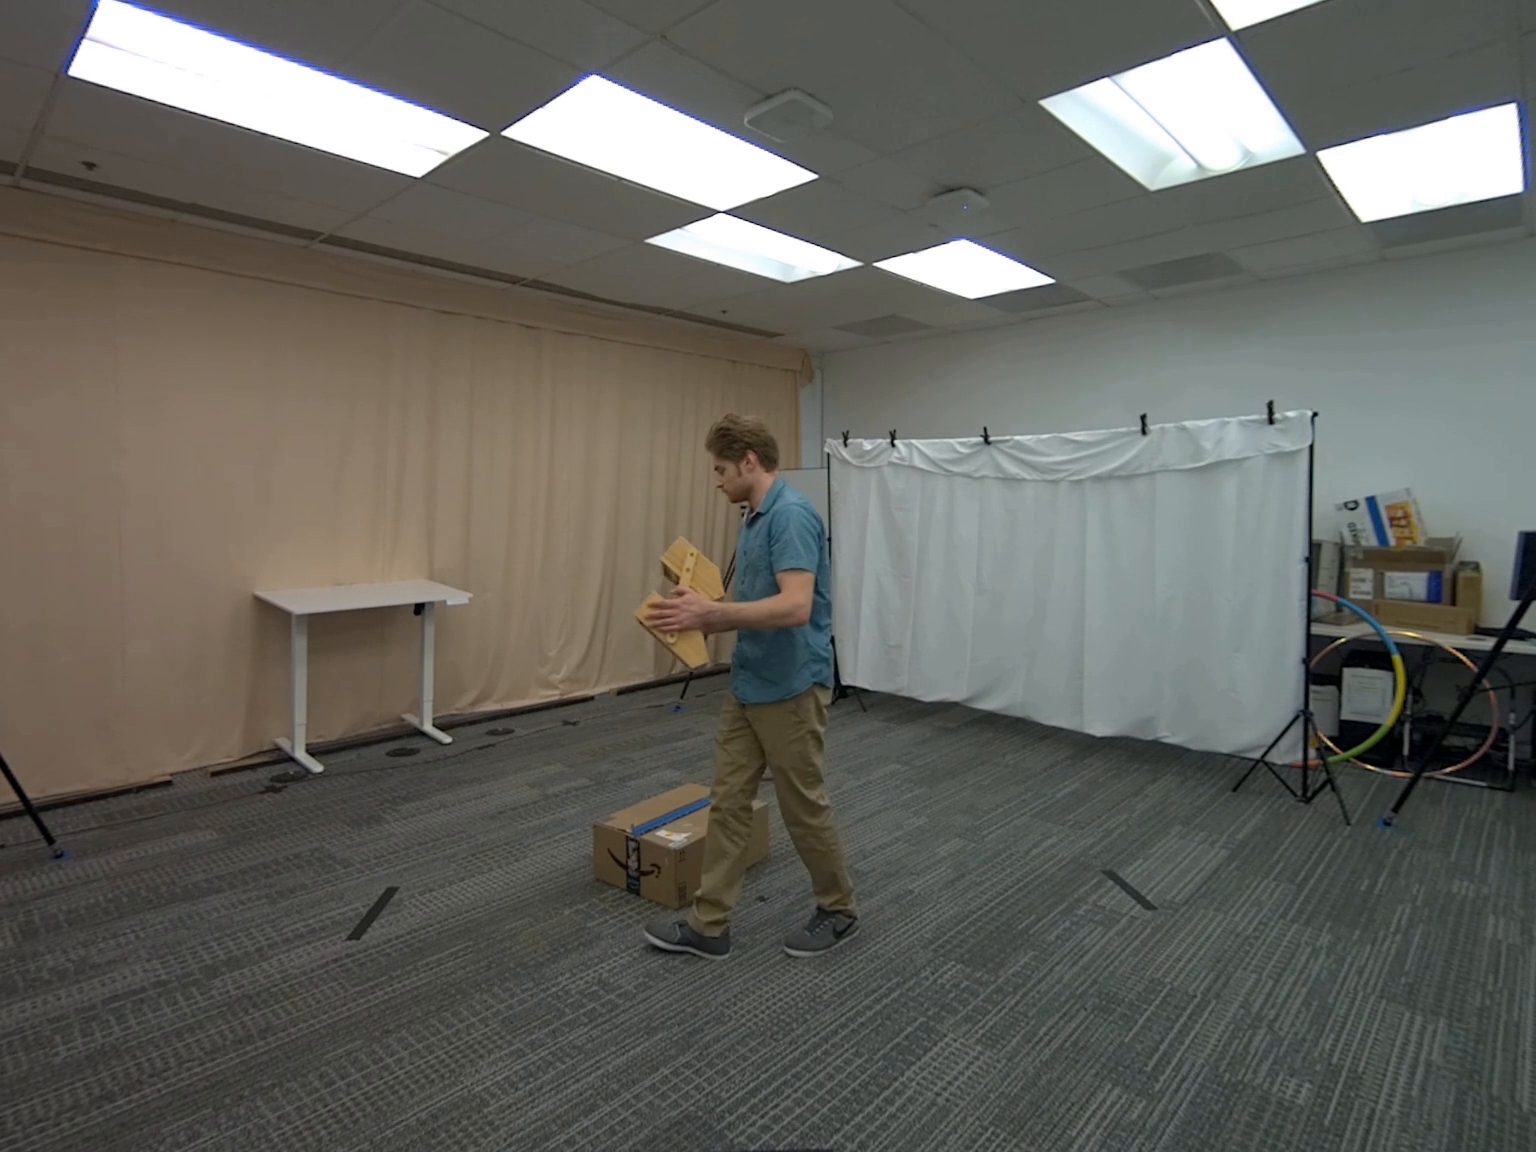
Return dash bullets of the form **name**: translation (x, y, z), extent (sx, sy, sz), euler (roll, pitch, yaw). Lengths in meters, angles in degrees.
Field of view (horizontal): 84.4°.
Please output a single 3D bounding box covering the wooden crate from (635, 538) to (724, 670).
- **wooden crate**: translation (-0.233, 0.098, 2.550), extent (0.304, 0.272, 0.324), euler (41, -10, 3)
